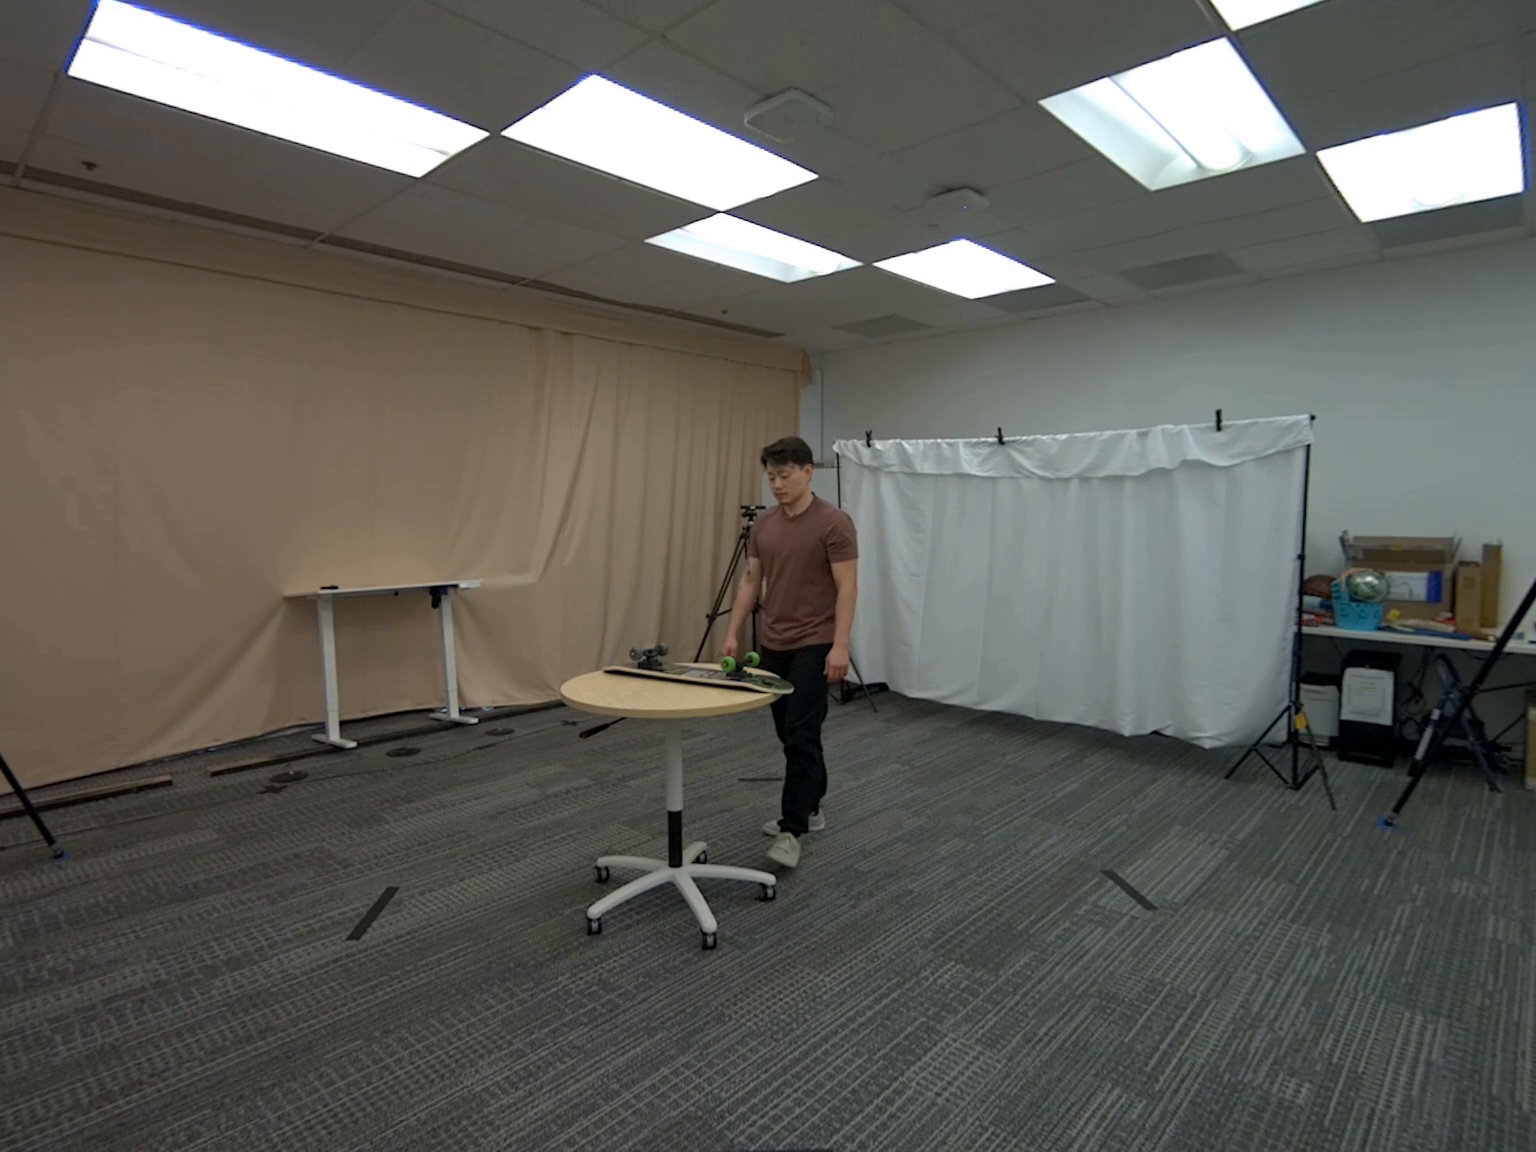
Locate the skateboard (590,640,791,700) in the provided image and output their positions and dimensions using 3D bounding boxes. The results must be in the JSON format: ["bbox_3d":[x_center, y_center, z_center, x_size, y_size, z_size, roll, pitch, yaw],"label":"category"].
[{"bbox_3d":[-0.265,0.317,2.975,0.809,0.110,0.188,2,1,33],"label":"skateboard"}]
